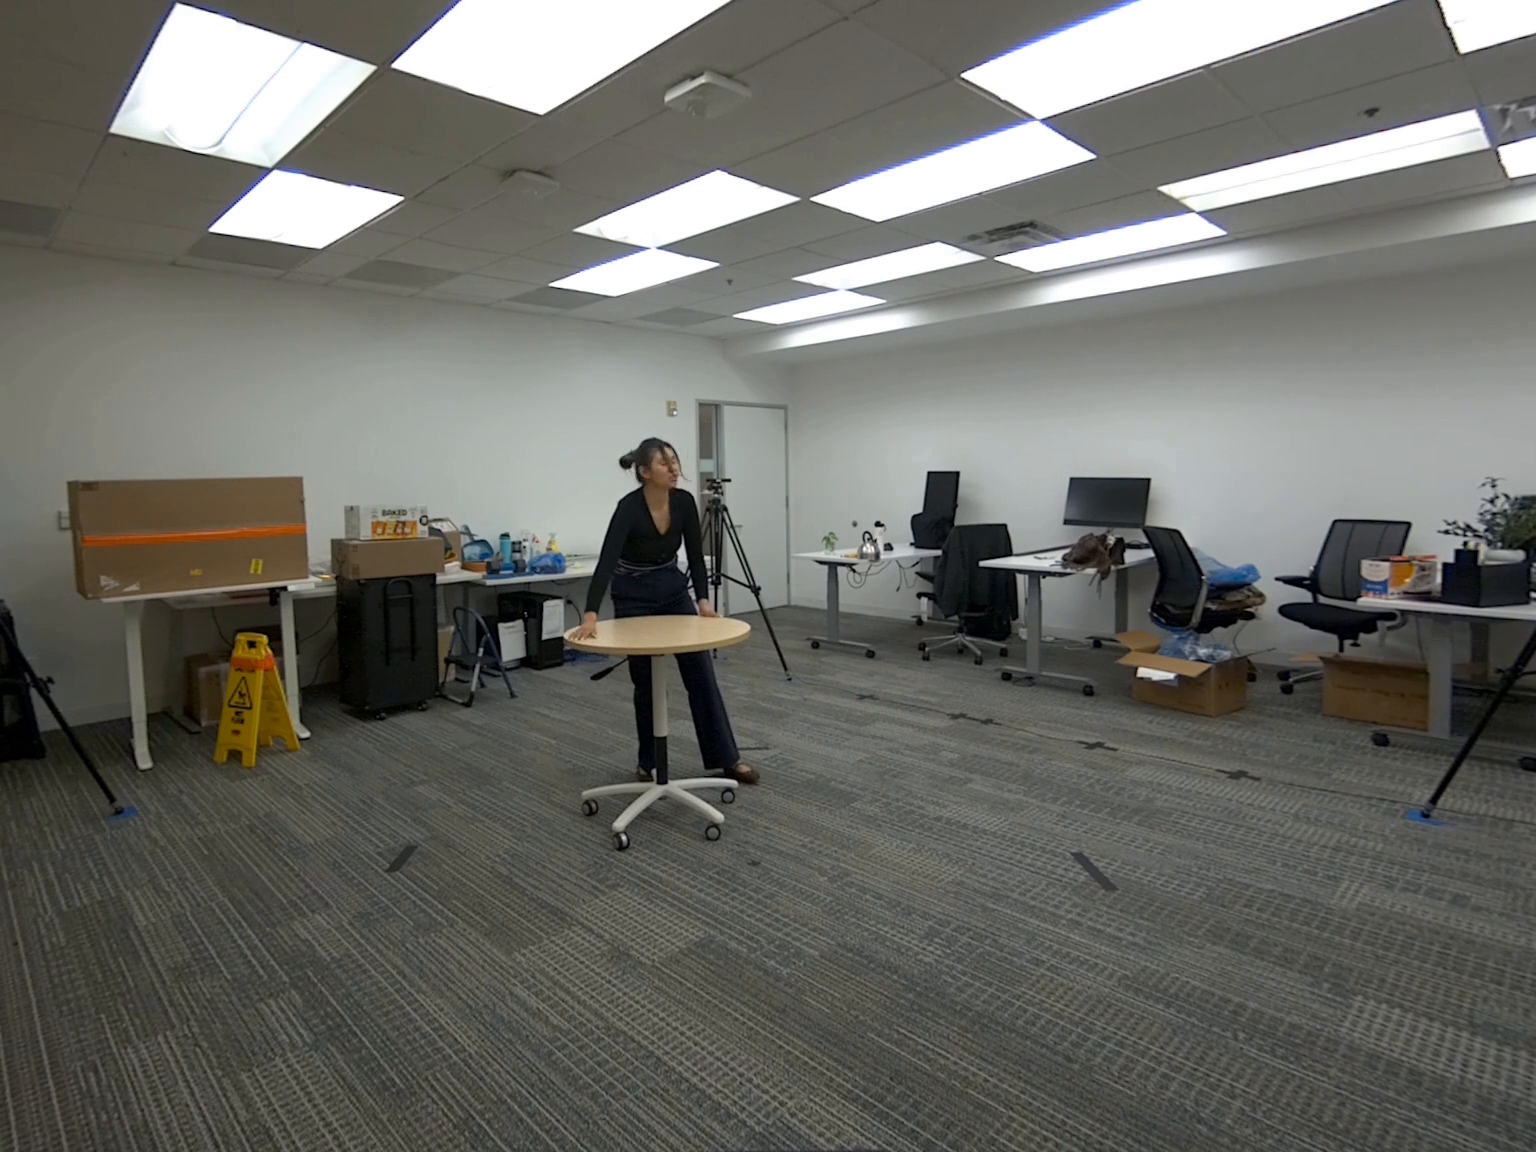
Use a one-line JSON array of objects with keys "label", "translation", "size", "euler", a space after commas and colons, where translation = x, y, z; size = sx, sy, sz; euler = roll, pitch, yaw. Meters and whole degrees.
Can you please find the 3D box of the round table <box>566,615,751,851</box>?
[{"label": "round table", "translation": [-0.450, 0.616, 3.533], "size": [0.763, 0.791, 0.767], "euler": [-1, 4, -2]}]
